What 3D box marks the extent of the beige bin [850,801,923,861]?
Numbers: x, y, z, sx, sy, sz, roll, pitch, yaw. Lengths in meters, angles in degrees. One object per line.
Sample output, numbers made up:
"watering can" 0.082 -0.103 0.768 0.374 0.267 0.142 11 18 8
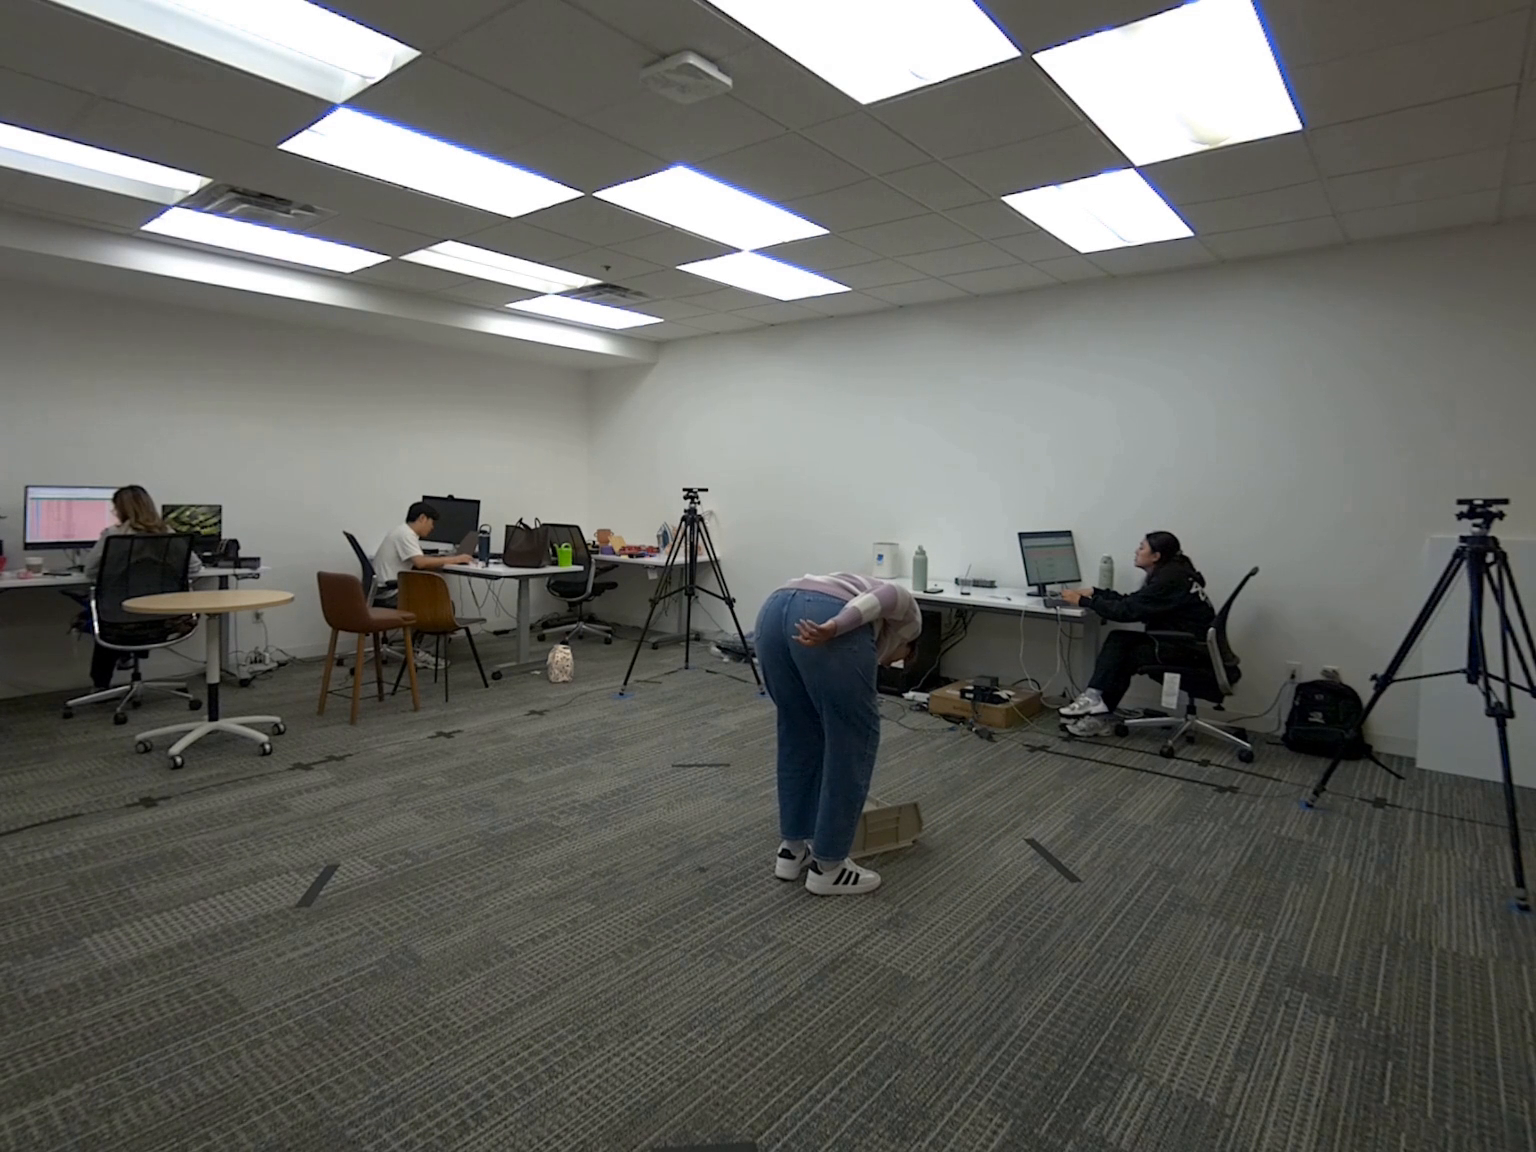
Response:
"beige bin" 0.341 0.955 3.473 0.367 0.188 0.436 -4 7 -31
